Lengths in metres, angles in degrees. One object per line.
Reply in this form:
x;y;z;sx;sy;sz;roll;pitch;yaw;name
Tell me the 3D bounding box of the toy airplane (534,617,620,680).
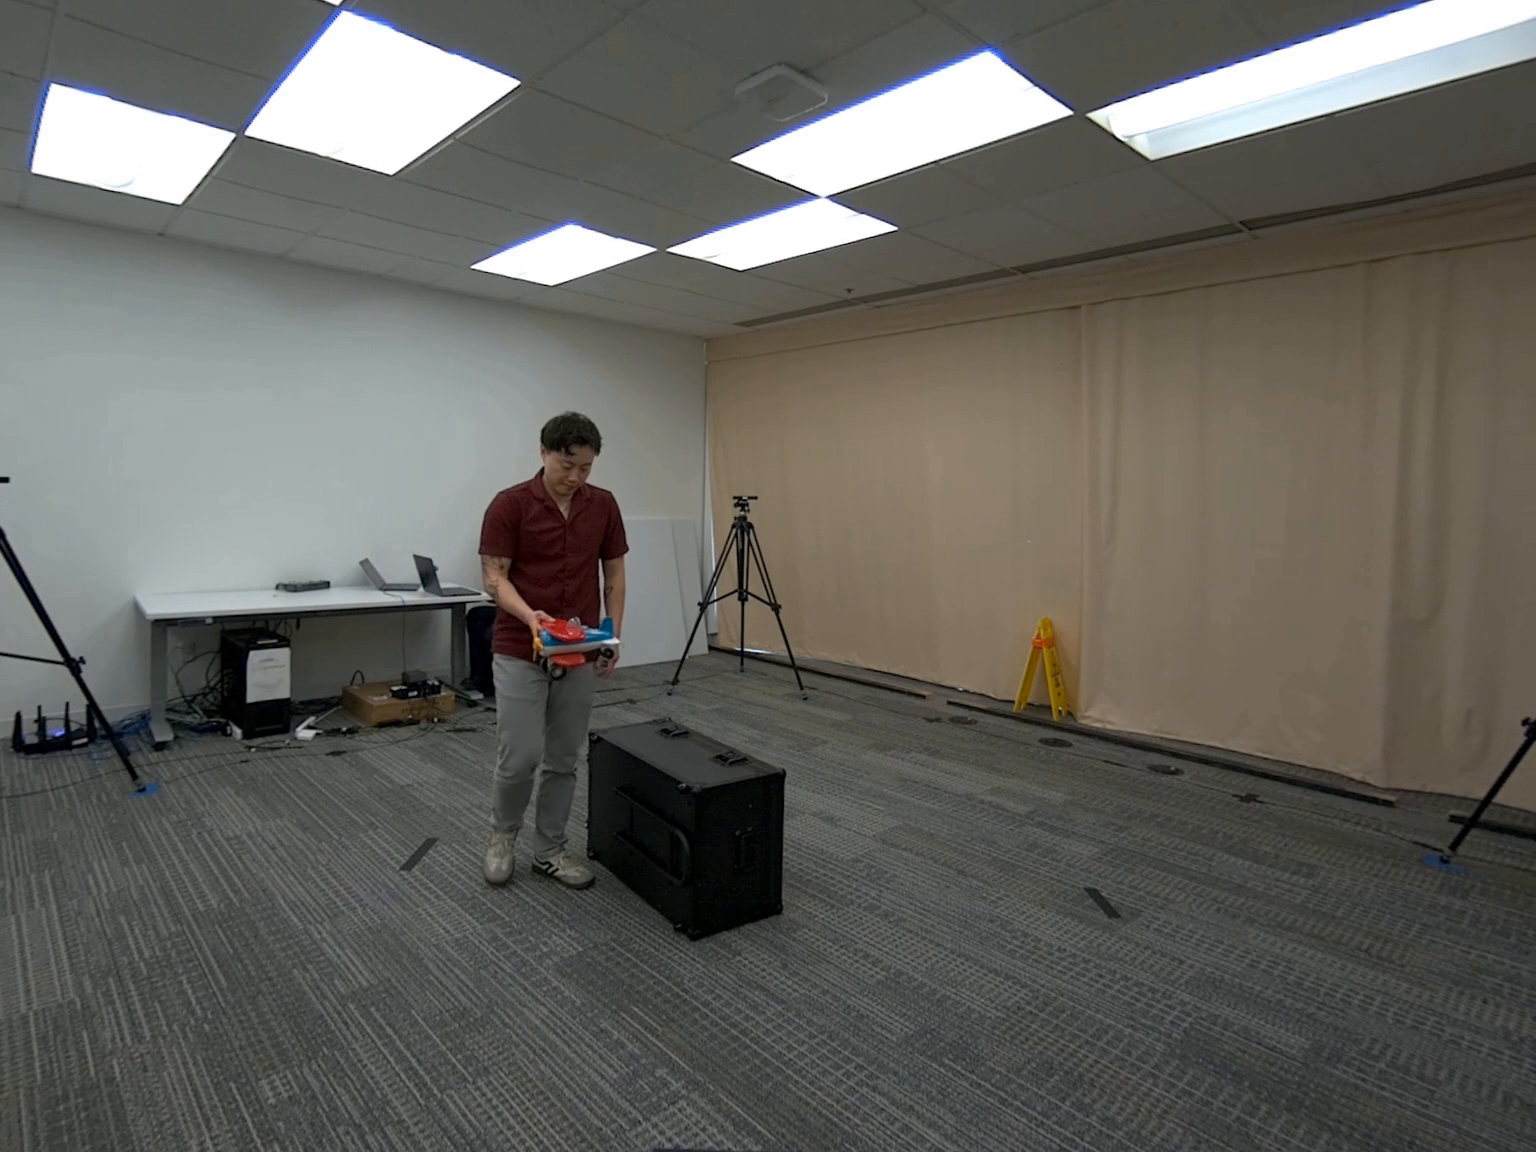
-0.630;0.218;2.628;0.257;0.154;0.256;1;19;35;toy airplane
